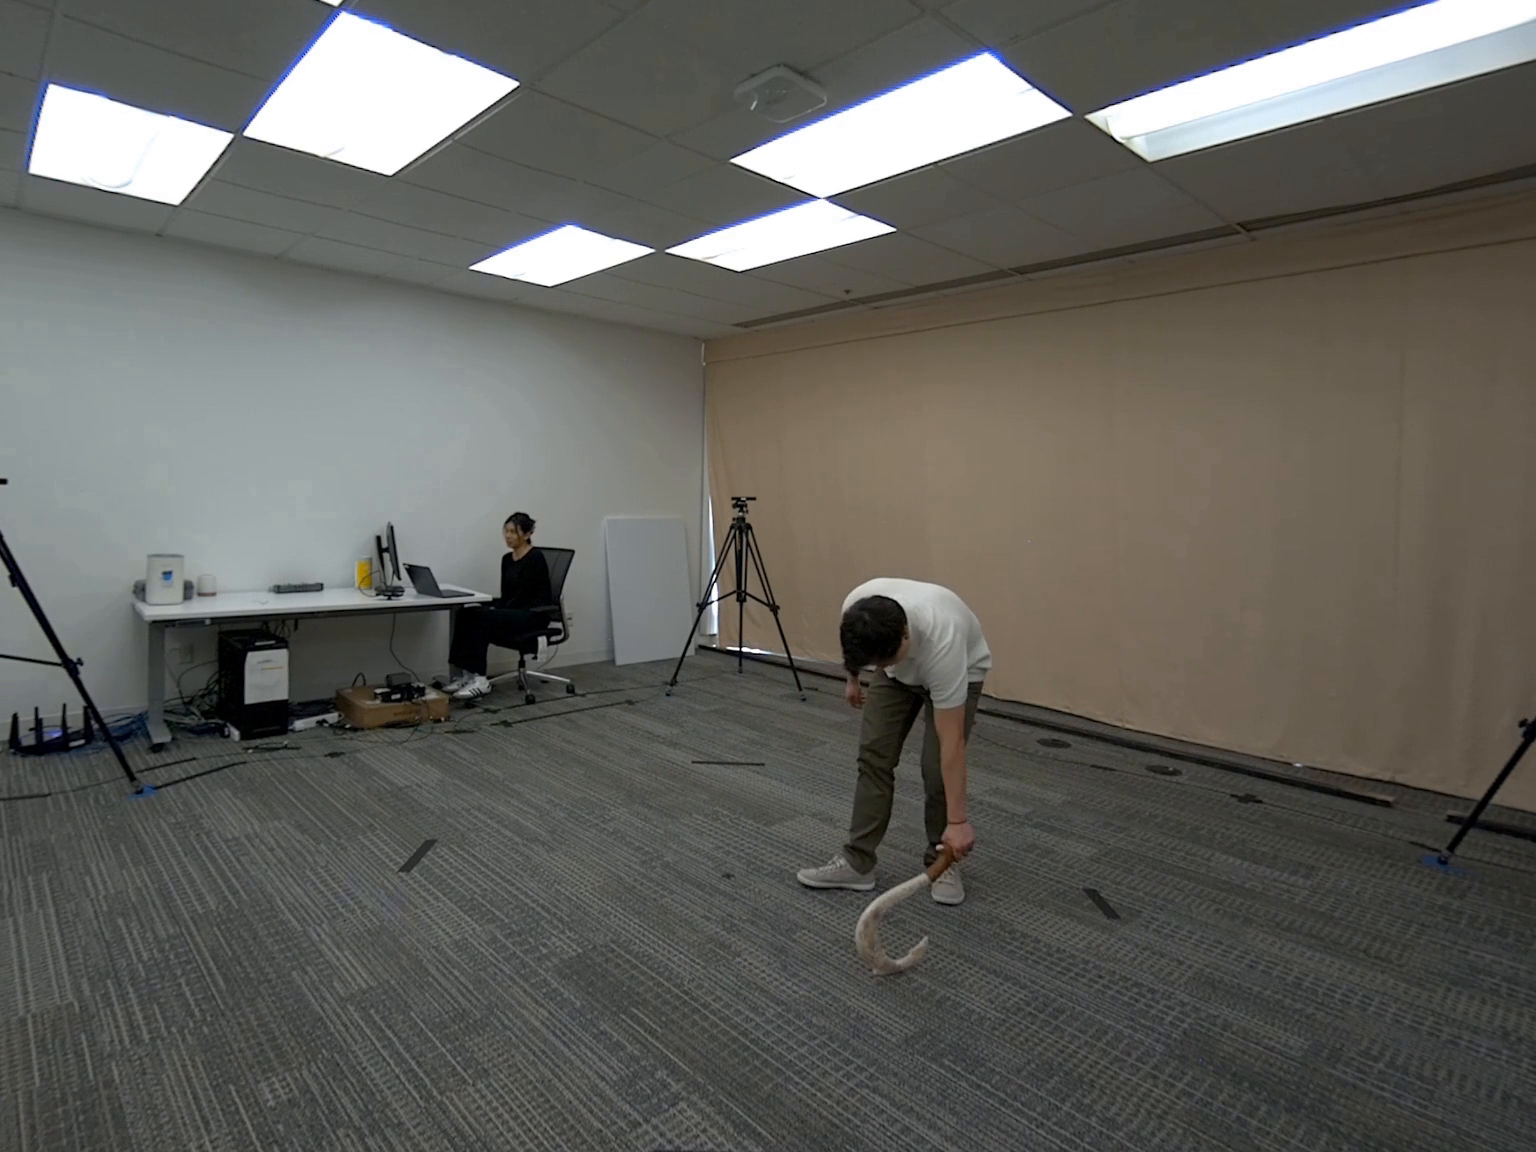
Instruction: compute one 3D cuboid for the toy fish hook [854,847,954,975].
[{"bbox_3d":[0.473,0.992,2.553,0.505,0.223,0.049,-37,6,-18],"label":"toy fish hook"}]
